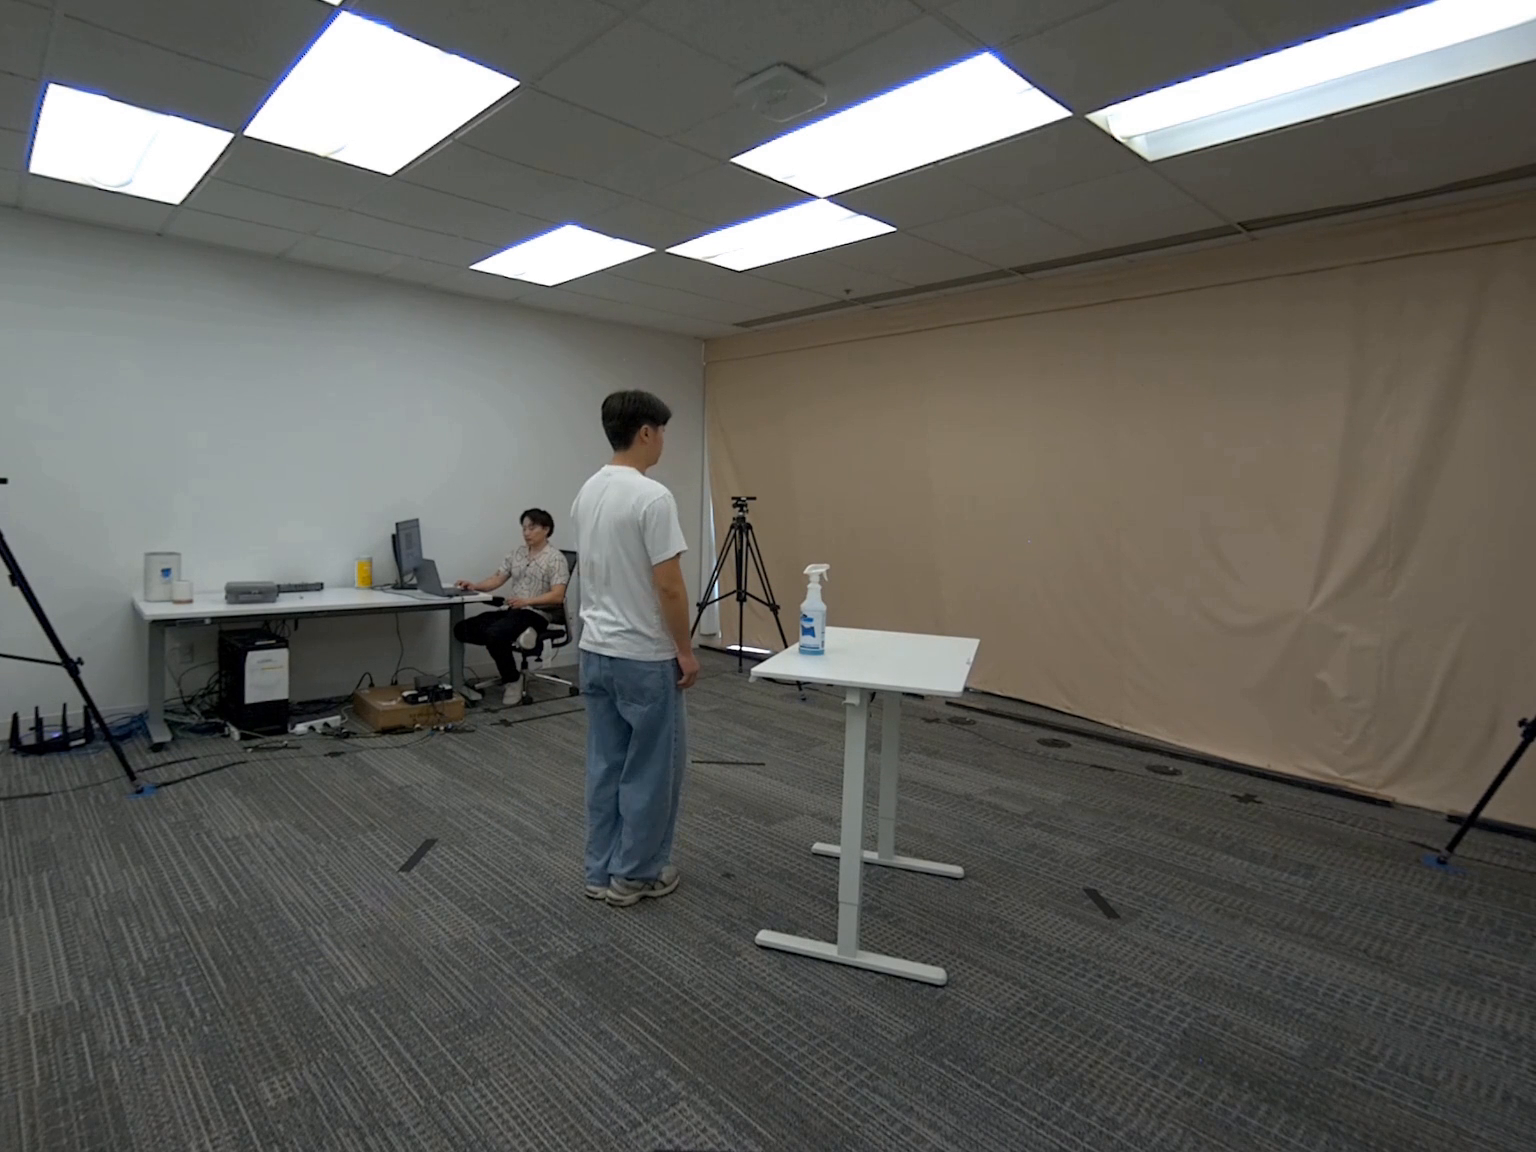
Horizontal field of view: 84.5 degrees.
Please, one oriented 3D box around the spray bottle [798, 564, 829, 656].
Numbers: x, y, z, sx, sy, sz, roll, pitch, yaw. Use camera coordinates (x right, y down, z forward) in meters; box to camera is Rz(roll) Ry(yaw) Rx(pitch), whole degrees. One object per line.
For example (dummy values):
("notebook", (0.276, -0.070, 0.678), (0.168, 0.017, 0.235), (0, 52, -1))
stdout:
("spray bottle", (0.143, 0.112, 2.783), (0.090, 0.297, 0.087), (4, 3, 3))
